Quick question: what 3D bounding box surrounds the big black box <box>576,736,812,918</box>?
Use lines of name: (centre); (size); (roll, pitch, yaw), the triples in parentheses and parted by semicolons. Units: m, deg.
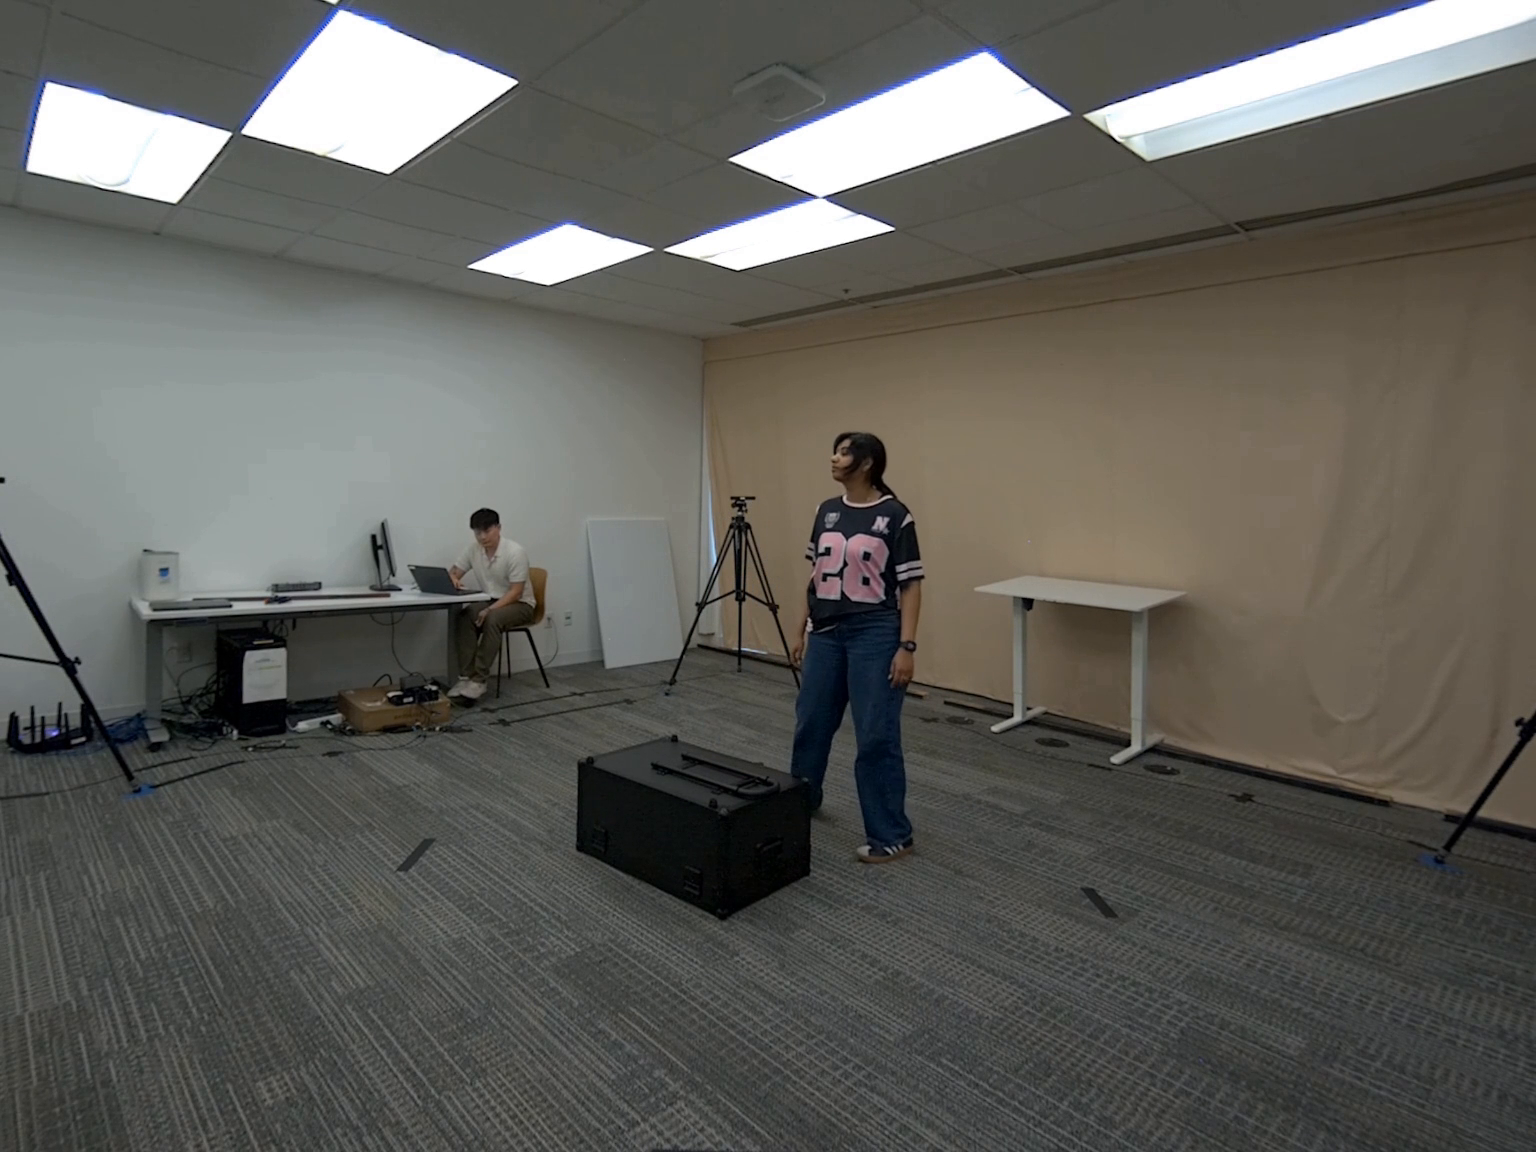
big black box: (-0.330, 0.906, 3.210); (0.890, 0.384, 0.512); (5, 7, 41)
